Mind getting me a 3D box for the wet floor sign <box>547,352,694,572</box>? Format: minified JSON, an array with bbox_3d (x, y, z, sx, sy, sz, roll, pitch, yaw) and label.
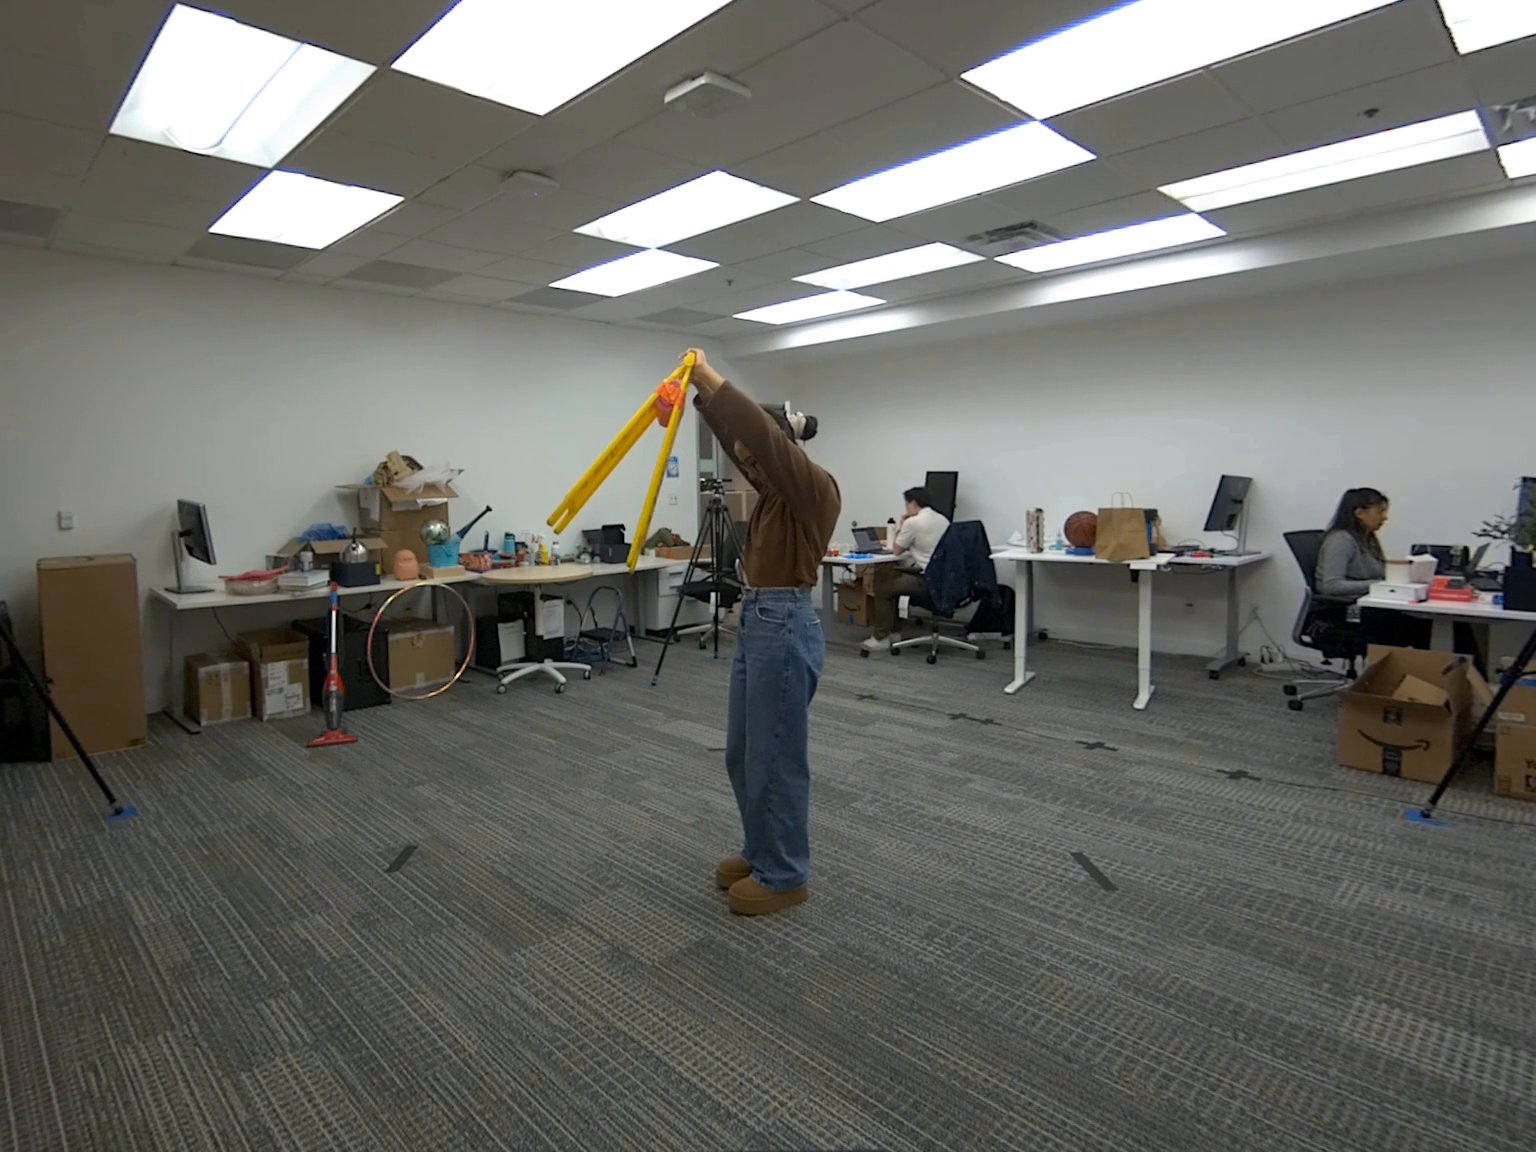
[{"bbox_3d":[-0.377,-0.365,2.571,0.290,0.648,0.281,25,-7,-1],"label":"wet floor sign"}]
